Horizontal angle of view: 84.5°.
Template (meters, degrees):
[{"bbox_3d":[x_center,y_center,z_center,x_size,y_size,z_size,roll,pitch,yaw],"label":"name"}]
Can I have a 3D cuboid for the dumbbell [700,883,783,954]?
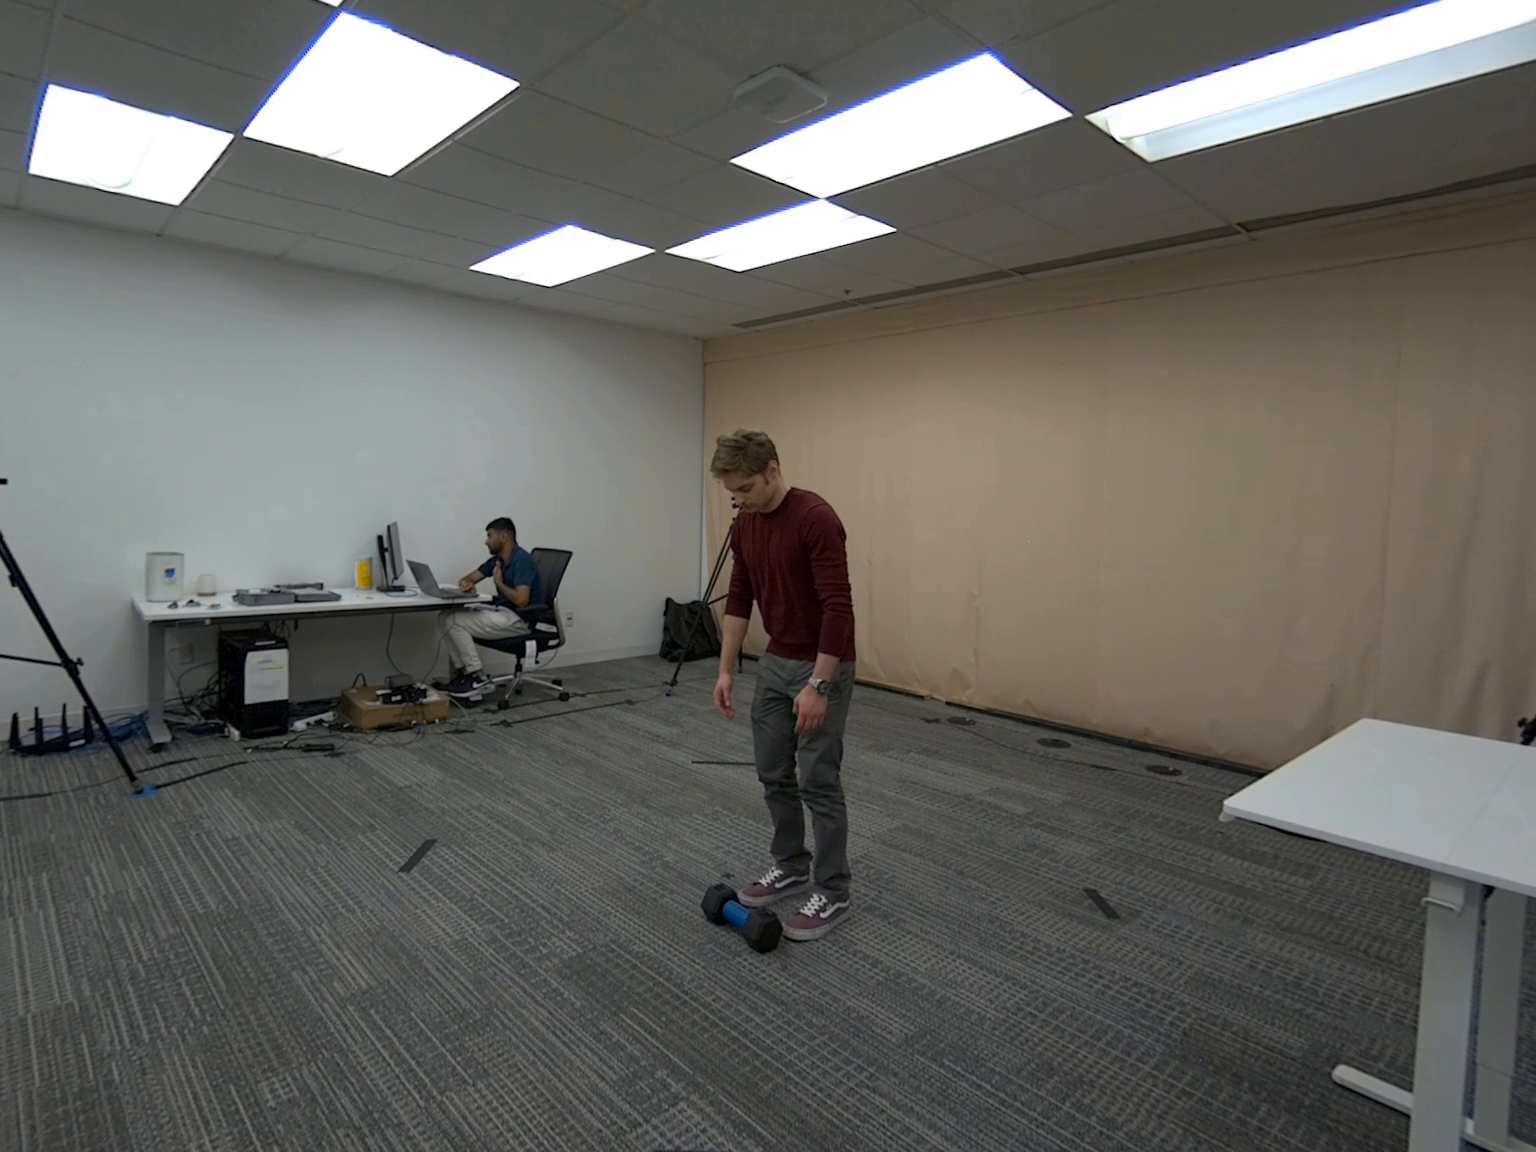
[{"bbox_3d":[-0.092,1.092,2.693,0.108,0.120,0.301,-38,27,-30],"label":"dumbbell"}]
